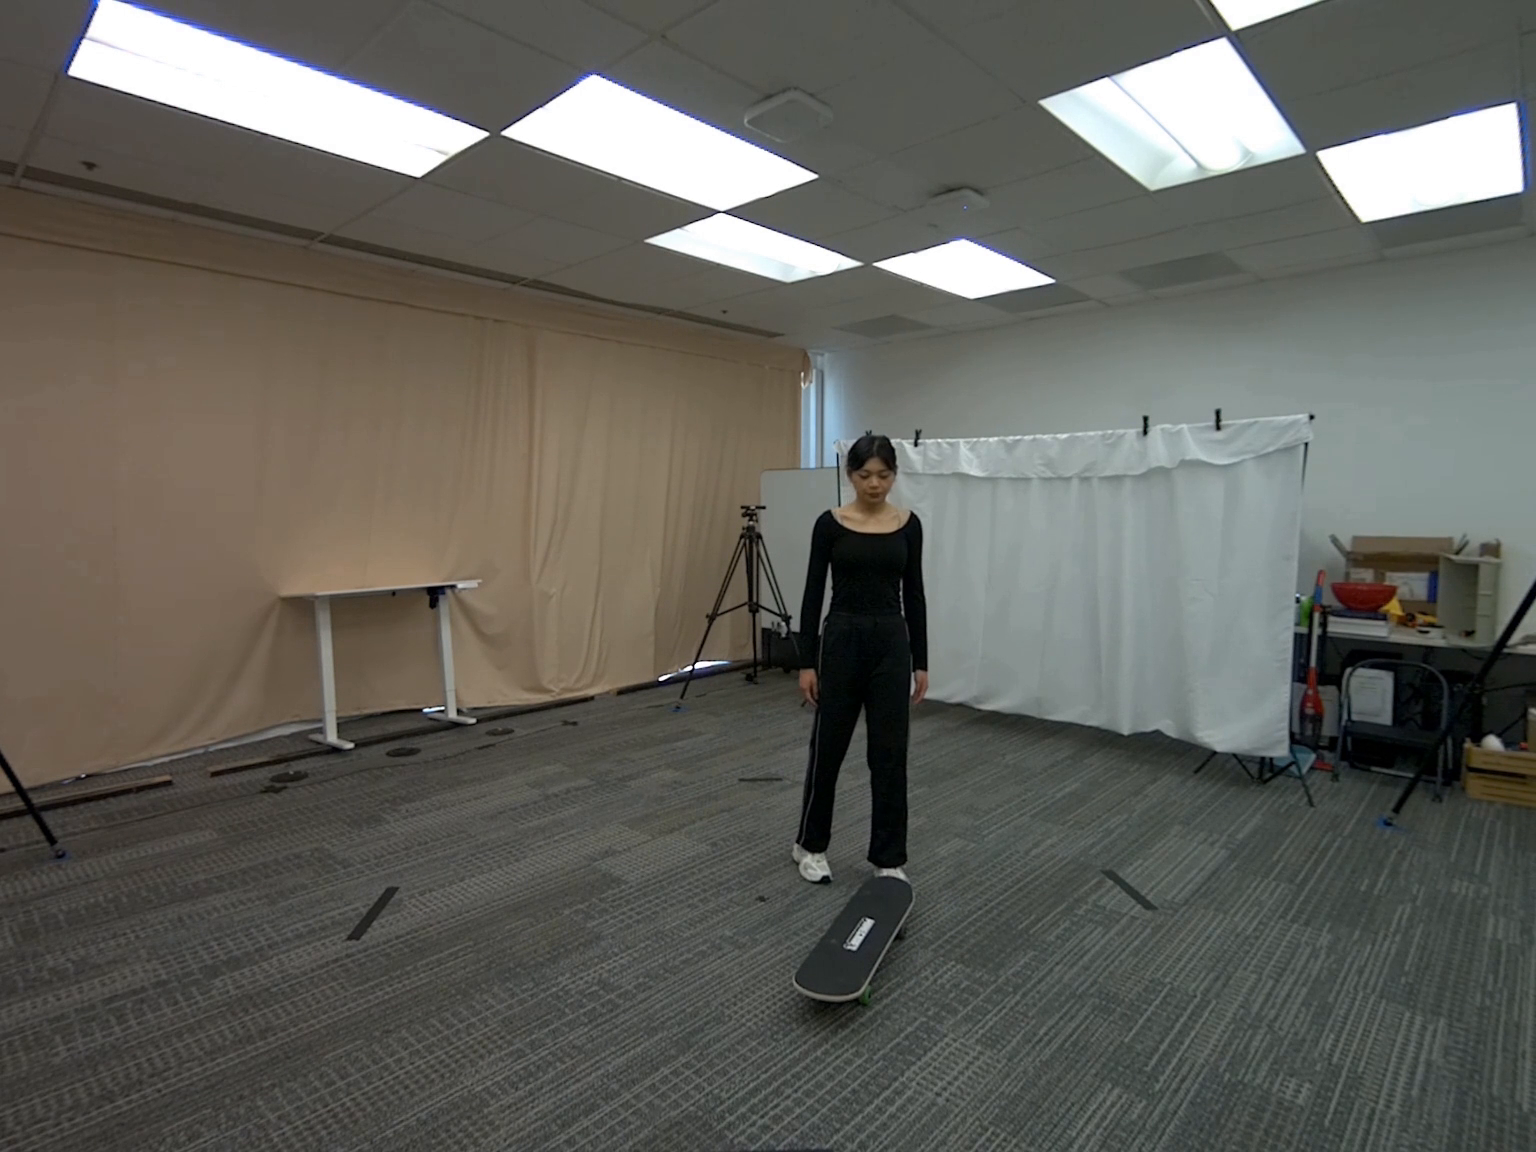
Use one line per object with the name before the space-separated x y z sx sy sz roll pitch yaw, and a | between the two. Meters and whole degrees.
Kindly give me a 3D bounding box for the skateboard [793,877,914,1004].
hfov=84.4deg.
skateboard | 0.284 1.128 2.560 0.198 0.110 0.768 3 5 24
